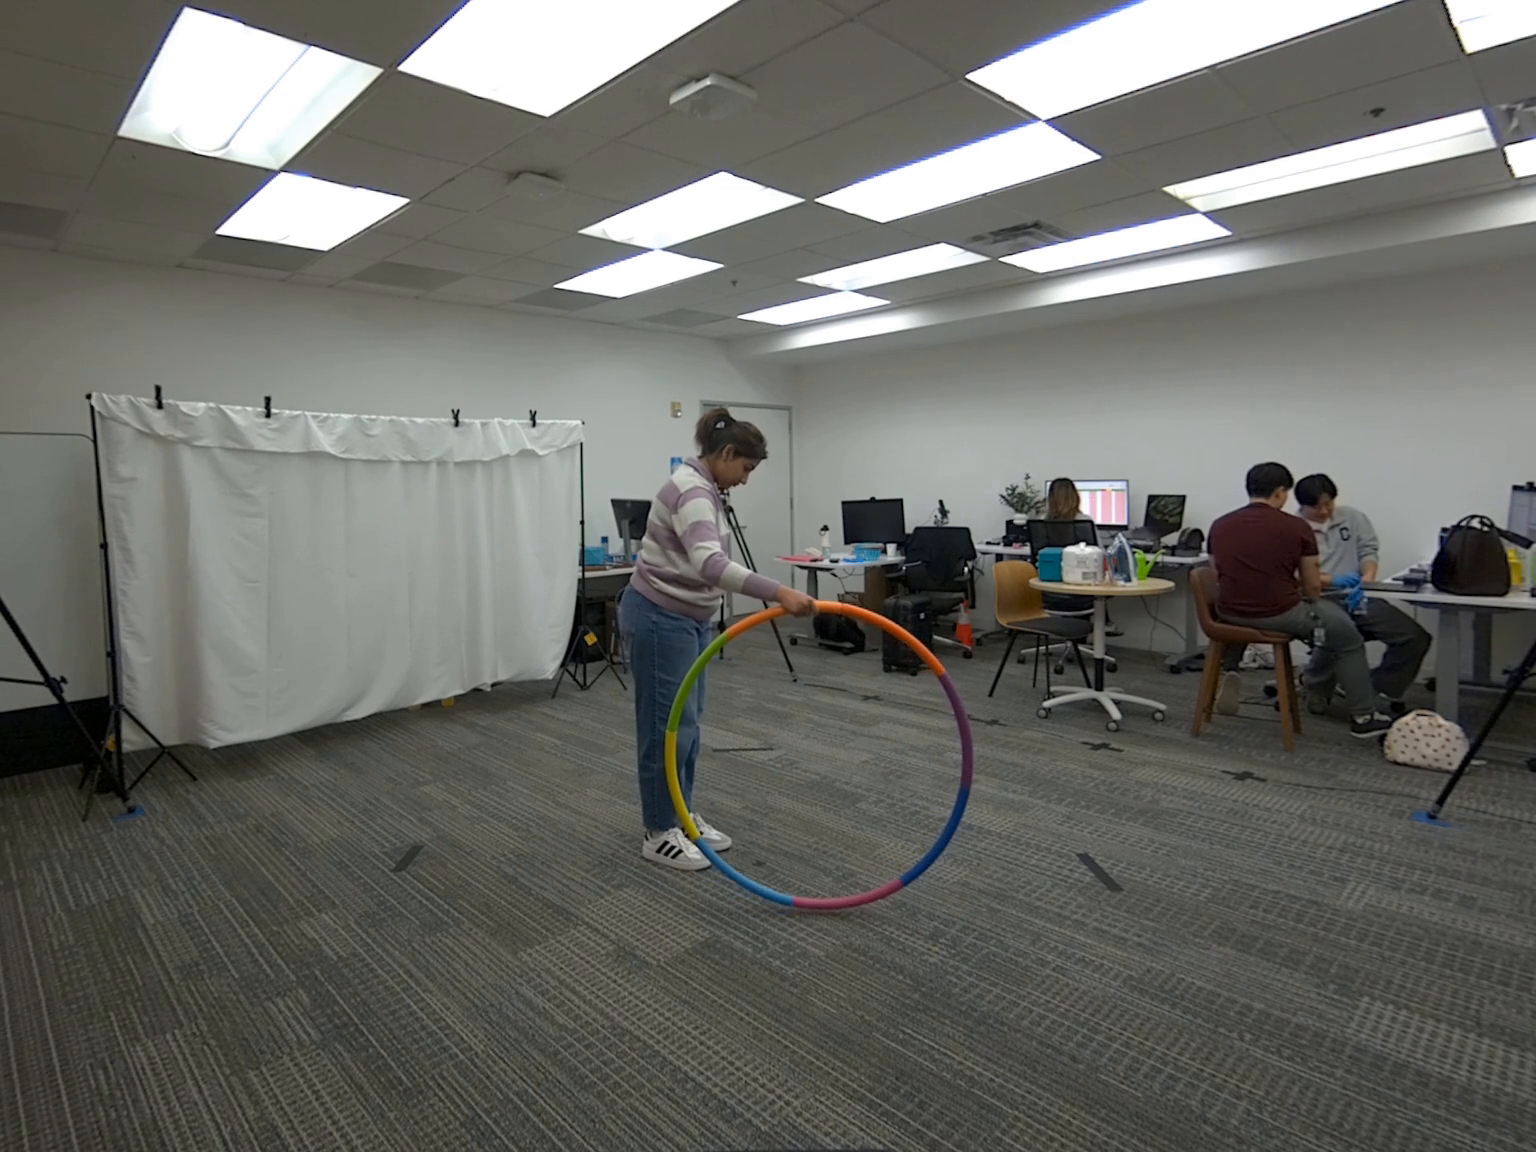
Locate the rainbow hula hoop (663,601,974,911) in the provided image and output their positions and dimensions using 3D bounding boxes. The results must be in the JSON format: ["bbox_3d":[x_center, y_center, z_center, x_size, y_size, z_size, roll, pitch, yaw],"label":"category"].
[{"bbox_3d":[0.156,0.578,2.716,0.988,0.975,0.035,0,3,10],"label":"rainbow hula hoop"}]
